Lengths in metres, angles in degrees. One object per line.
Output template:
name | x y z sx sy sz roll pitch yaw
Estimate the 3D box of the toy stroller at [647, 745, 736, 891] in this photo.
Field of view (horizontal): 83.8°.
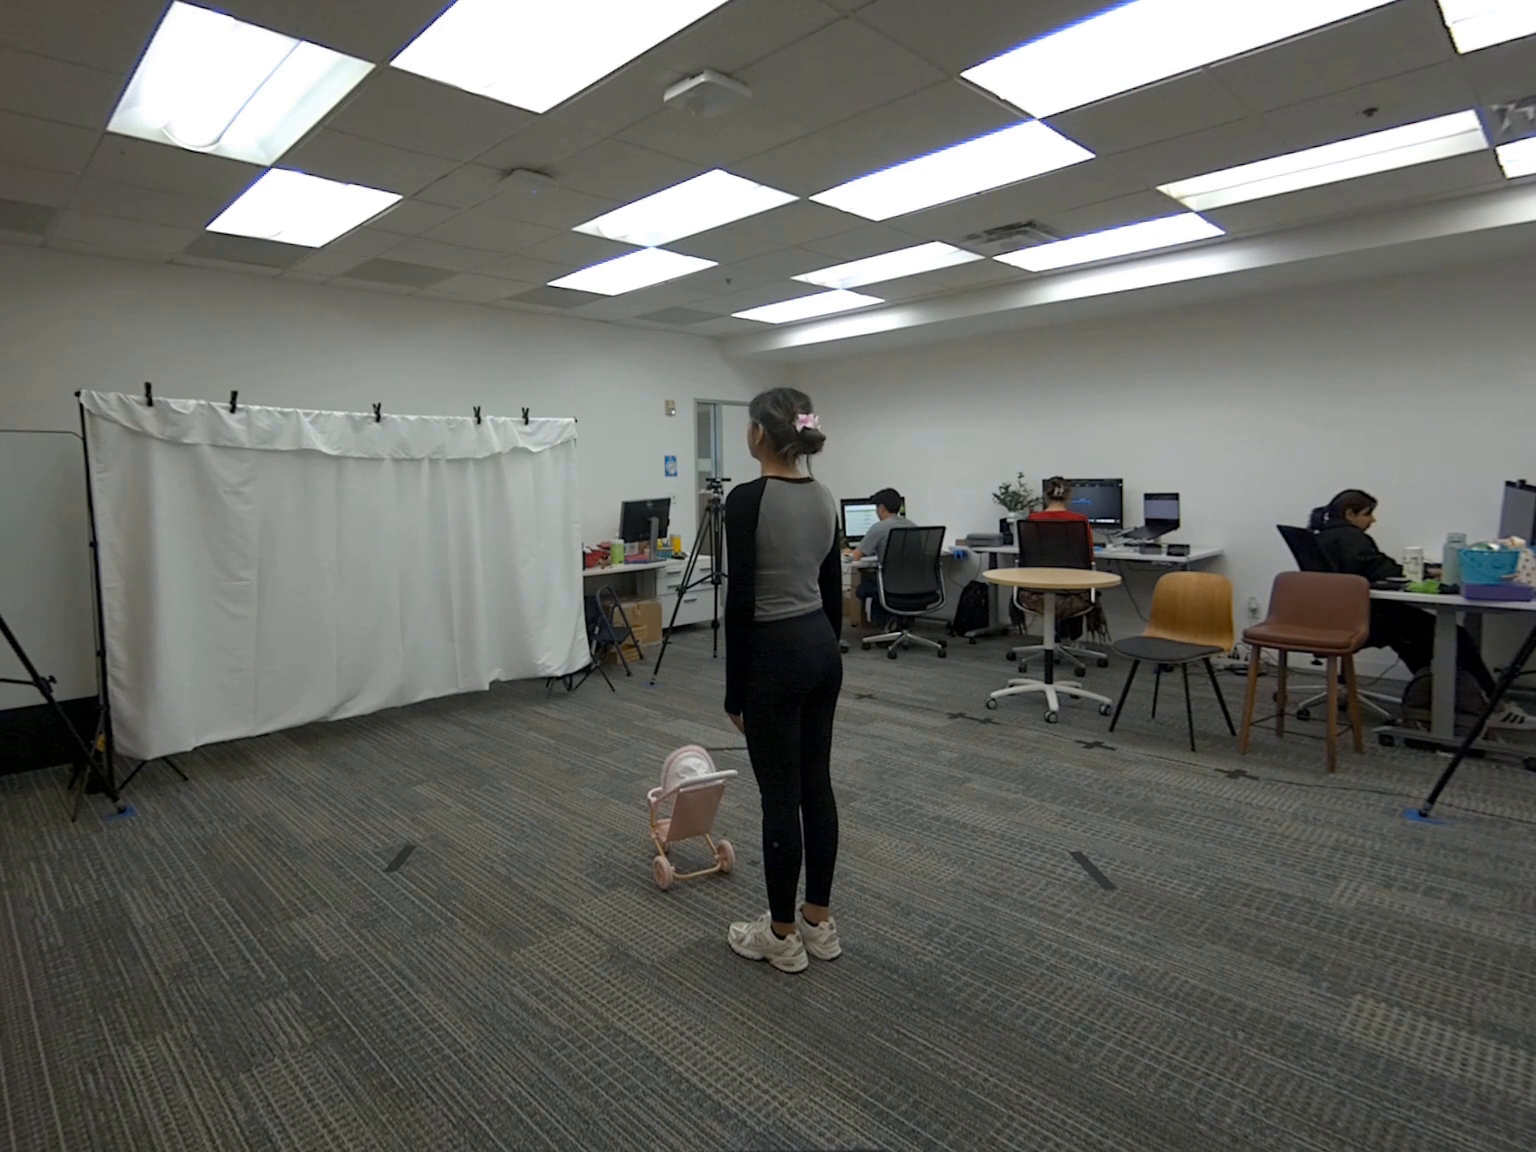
toy stroller | -0.287 0.832 3.023 0.275 0.527 0.354 -3 23 -26
